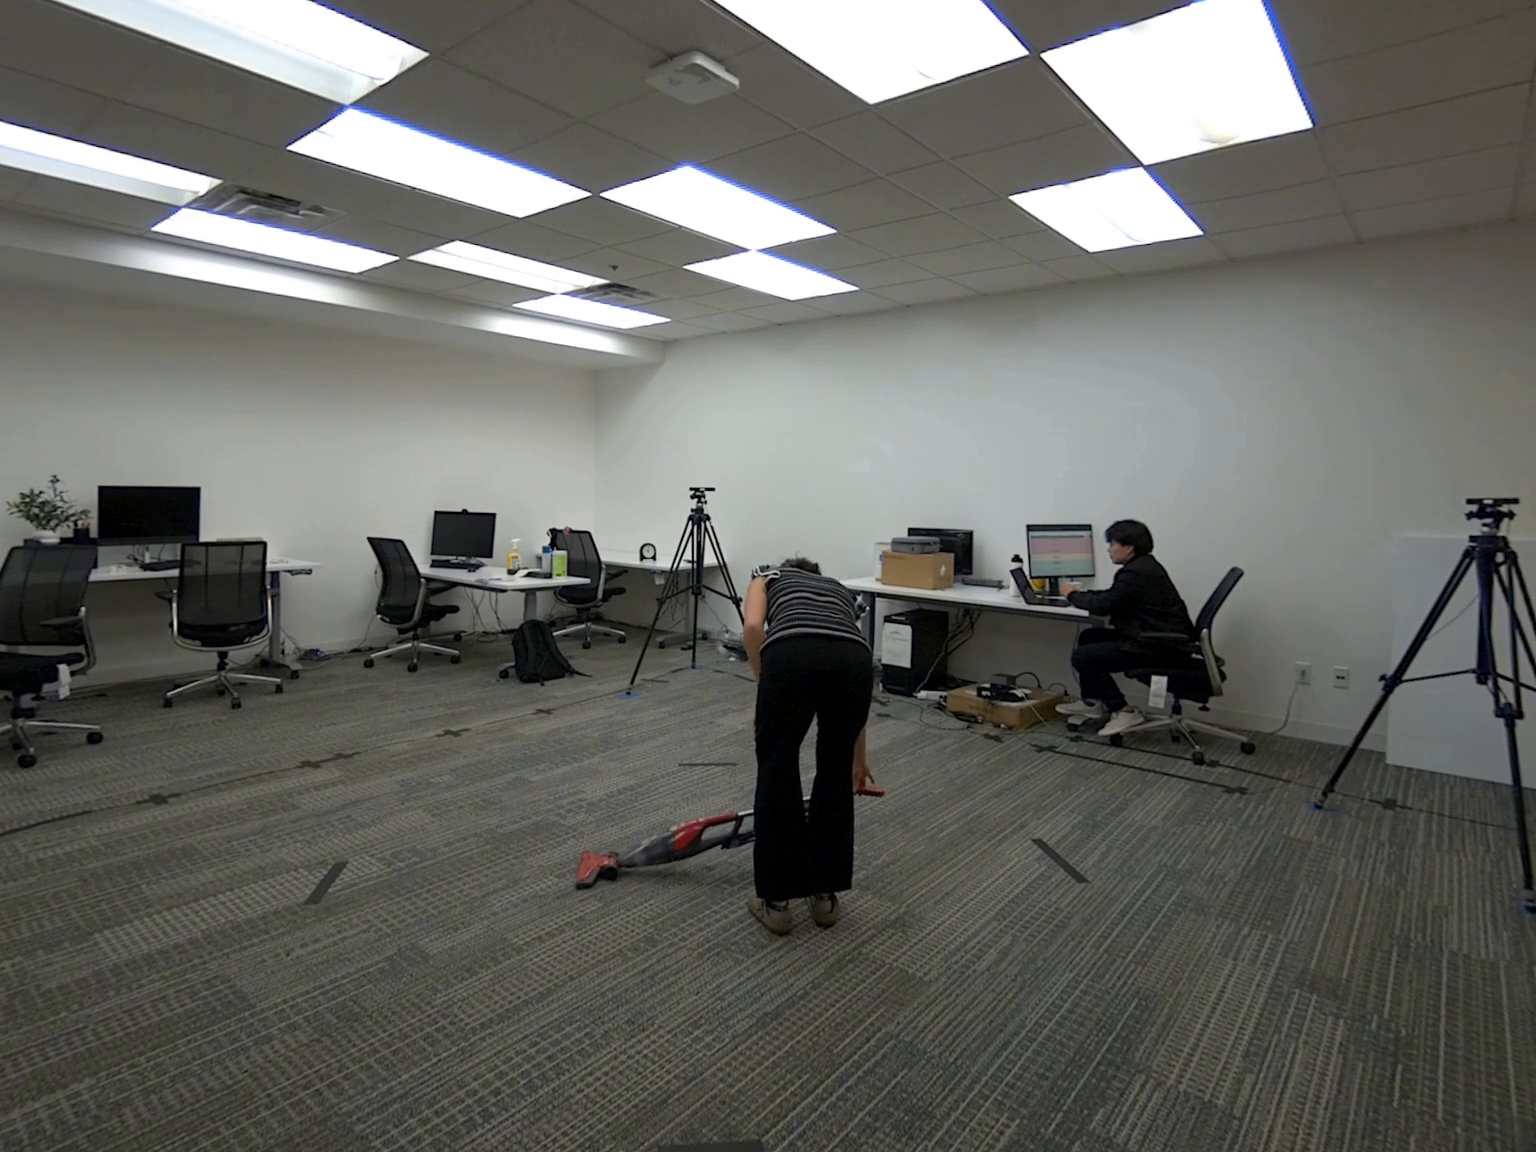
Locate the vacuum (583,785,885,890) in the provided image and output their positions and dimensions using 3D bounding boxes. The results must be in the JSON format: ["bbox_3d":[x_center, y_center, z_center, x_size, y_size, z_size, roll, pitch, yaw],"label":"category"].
[{"bbox_3d":[-0.102,0.910,3.075,1.047,0.143,0.254,-14,4,-2],"label":"vacuum"}]
